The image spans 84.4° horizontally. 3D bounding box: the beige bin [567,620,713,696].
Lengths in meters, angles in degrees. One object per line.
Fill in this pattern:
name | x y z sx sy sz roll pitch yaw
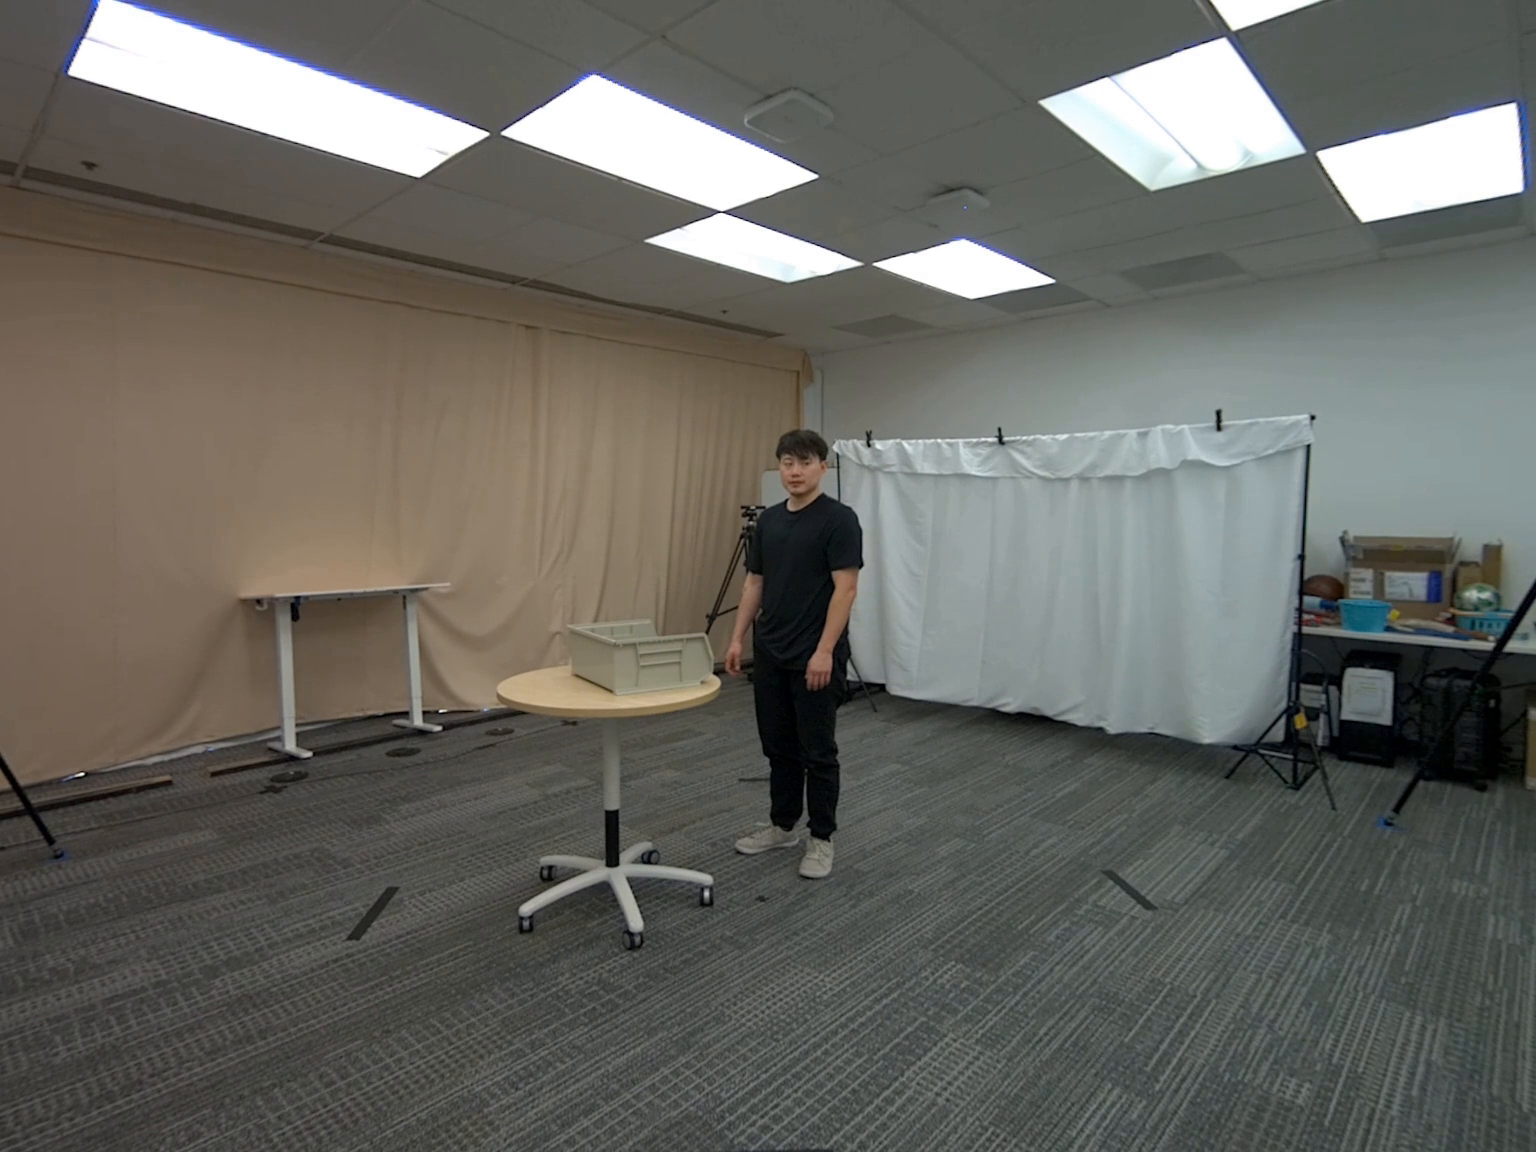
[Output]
beige bin | -0.454 0.277 2.972 0.367 0.188 0.435 -4 7 -33
